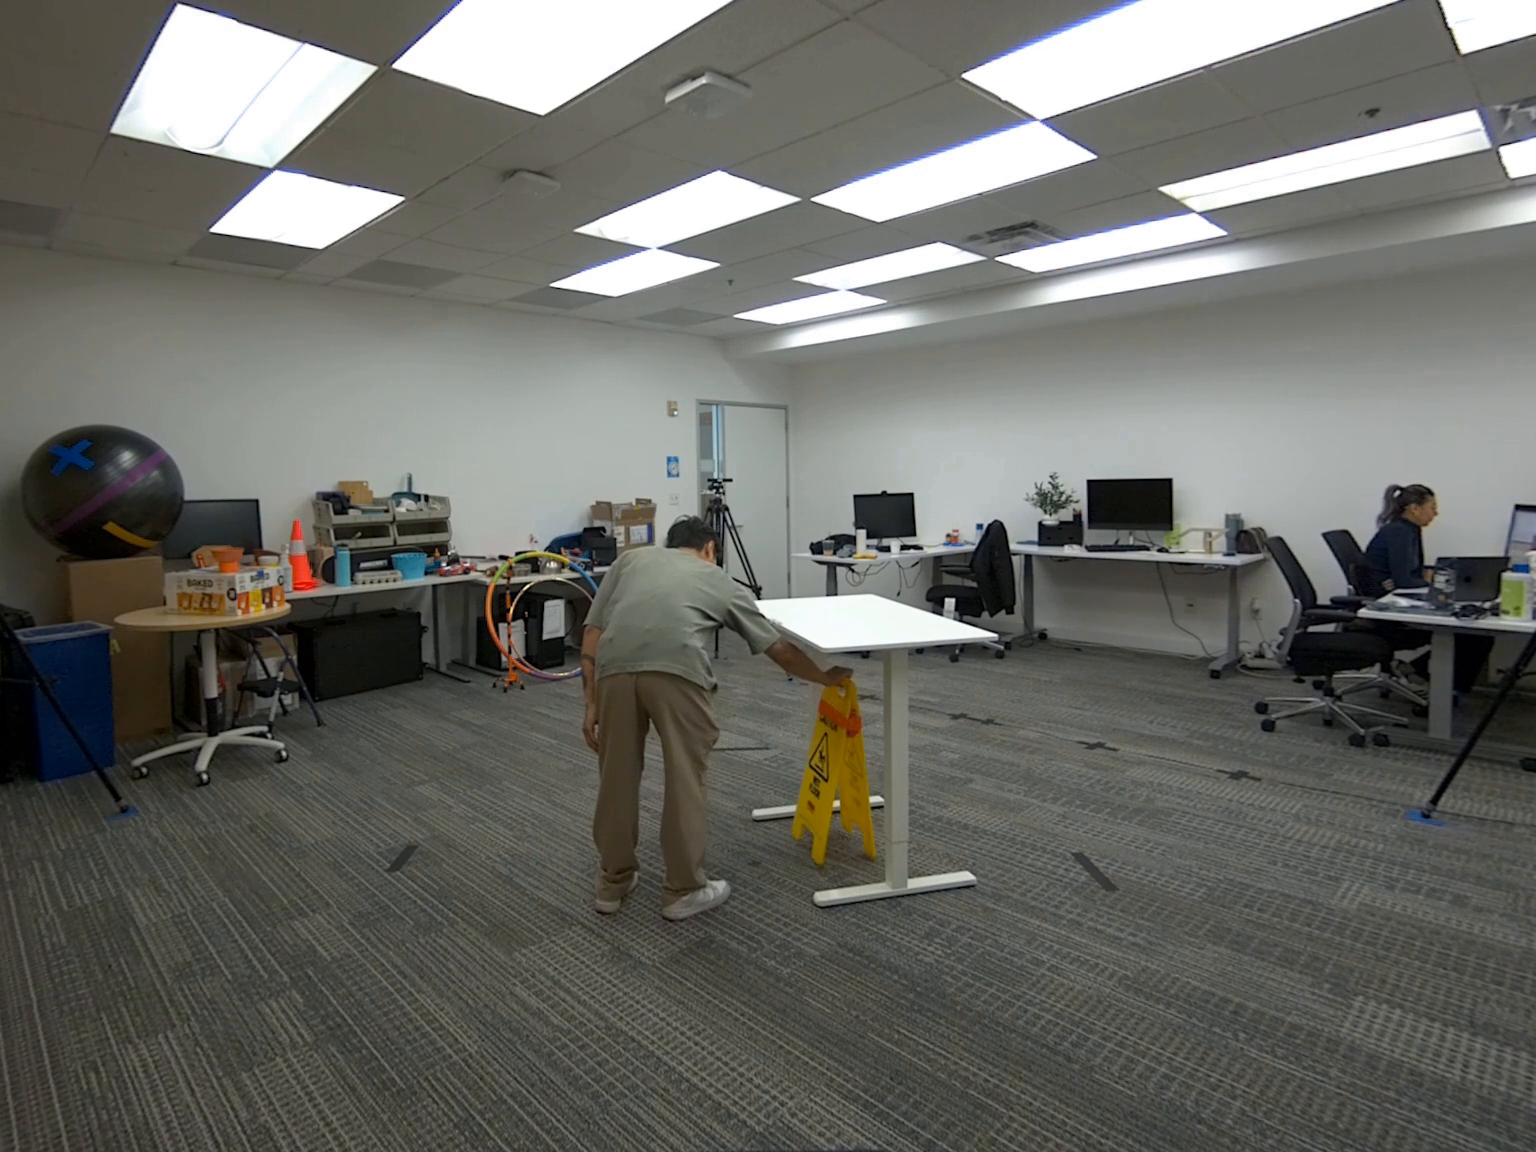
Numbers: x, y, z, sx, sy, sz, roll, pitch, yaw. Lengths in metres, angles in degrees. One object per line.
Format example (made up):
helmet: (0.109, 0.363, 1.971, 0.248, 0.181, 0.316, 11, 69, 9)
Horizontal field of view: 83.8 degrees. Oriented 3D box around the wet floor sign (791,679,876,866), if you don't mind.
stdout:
wet floor sign: (0.267, 0.697, 3.167, 0.285, 0.642, 0.288, 1, 7, -16)
